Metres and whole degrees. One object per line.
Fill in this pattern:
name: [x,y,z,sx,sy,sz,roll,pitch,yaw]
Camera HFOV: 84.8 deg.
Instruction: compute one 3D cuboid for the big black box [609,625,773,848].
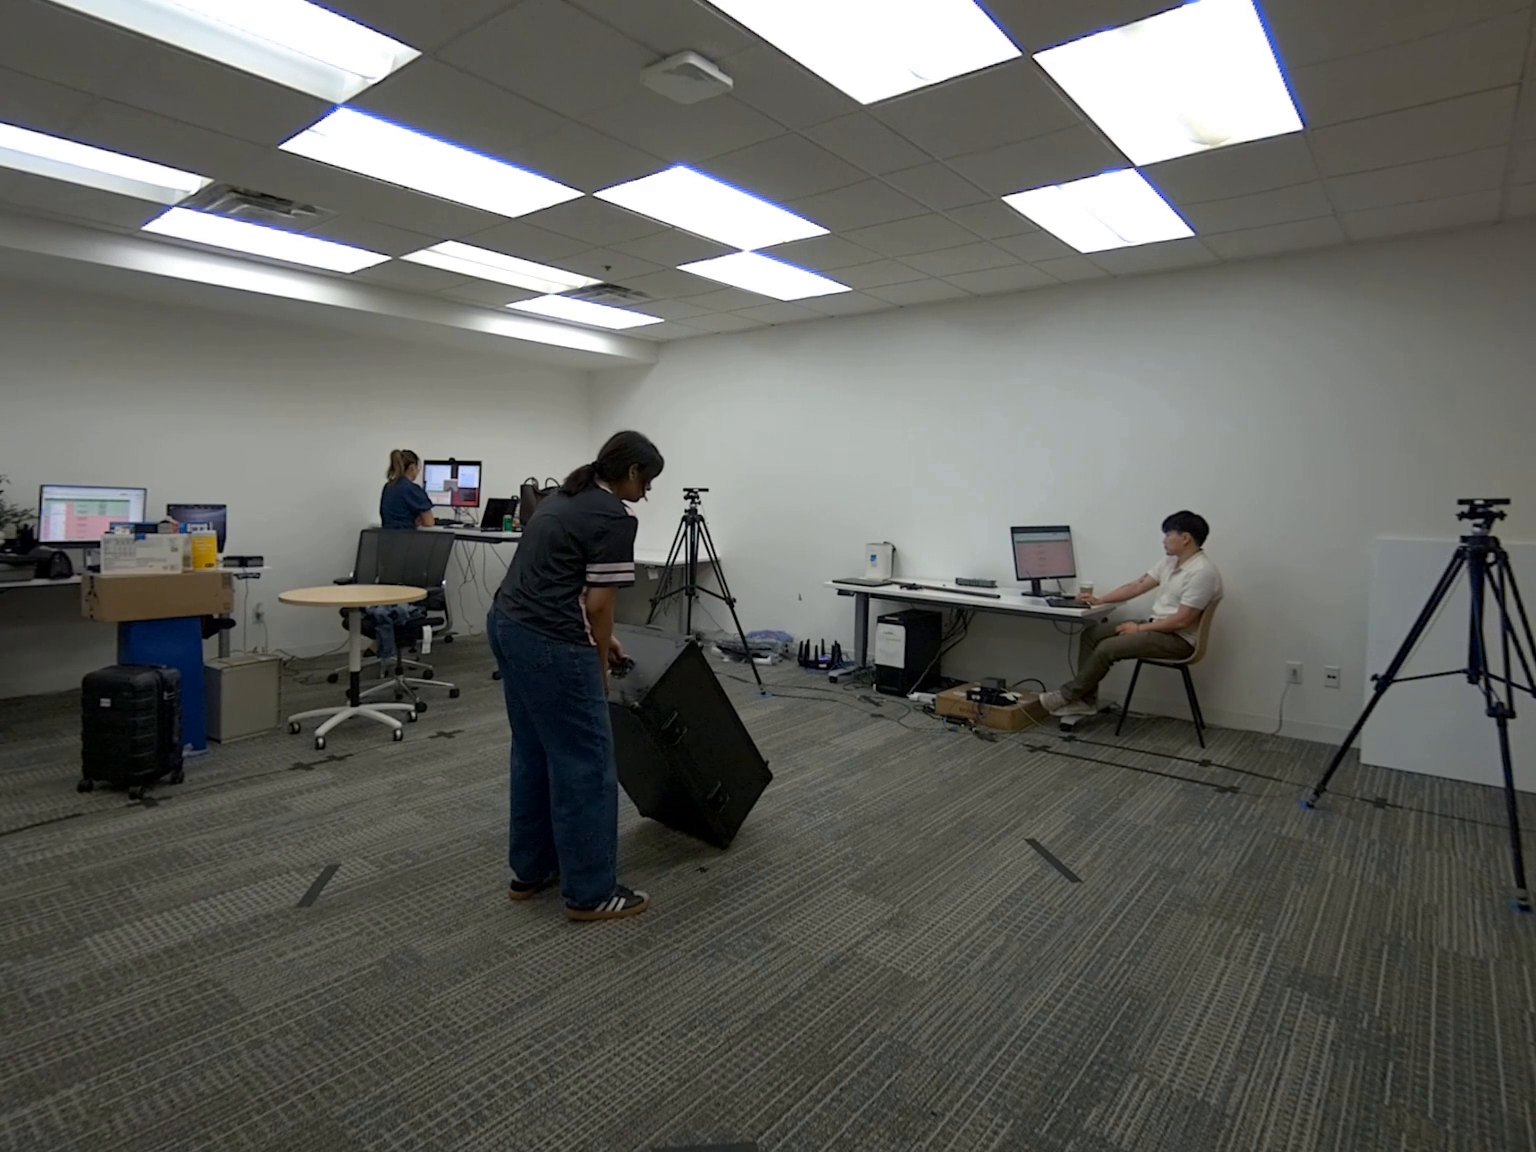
big black box: [-0.394,0.632,3.325,0.541,0.839,0.386,3,41,41]
